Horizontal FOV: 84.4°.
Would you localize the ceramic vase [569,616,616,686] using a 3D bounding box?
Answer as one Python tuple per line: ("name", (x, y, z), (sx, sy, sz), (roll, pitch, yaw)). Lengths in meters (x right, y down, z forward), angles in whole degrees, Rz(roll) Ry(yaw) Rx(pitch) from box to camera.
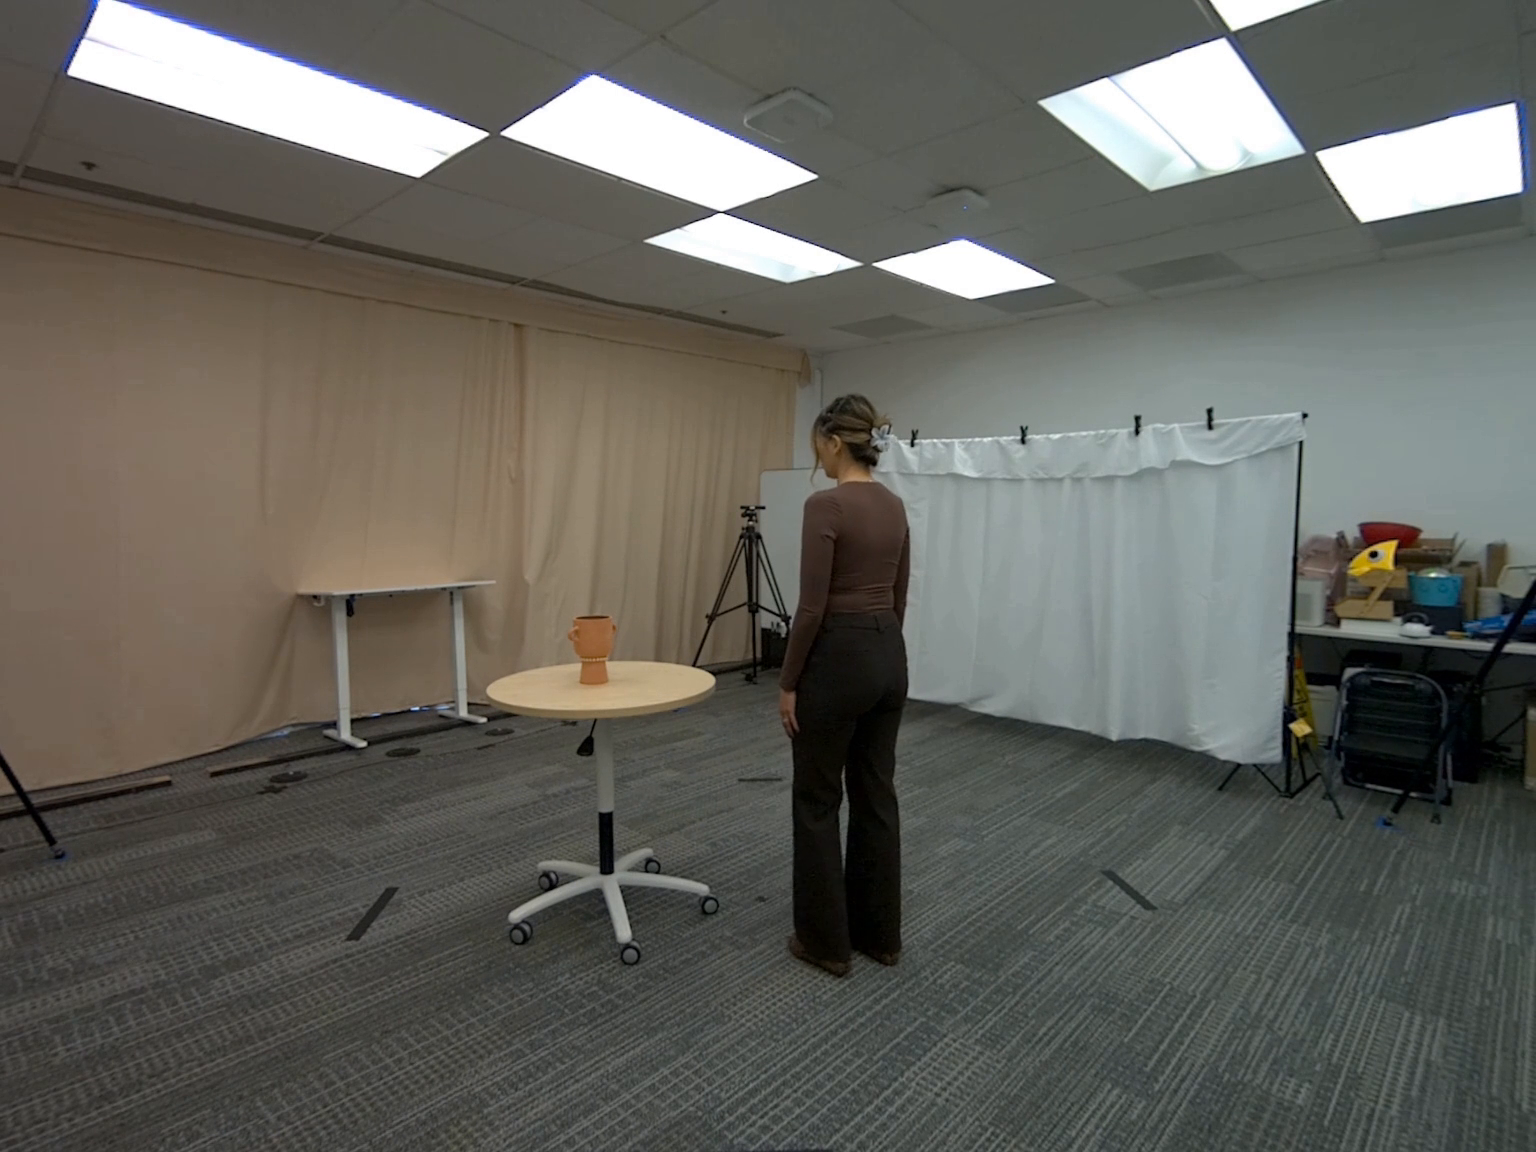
("ceramic vase", (-0.601, 0.255, 2.851), (0.158, 0.219, 0.136), (-2, 3, -8))
